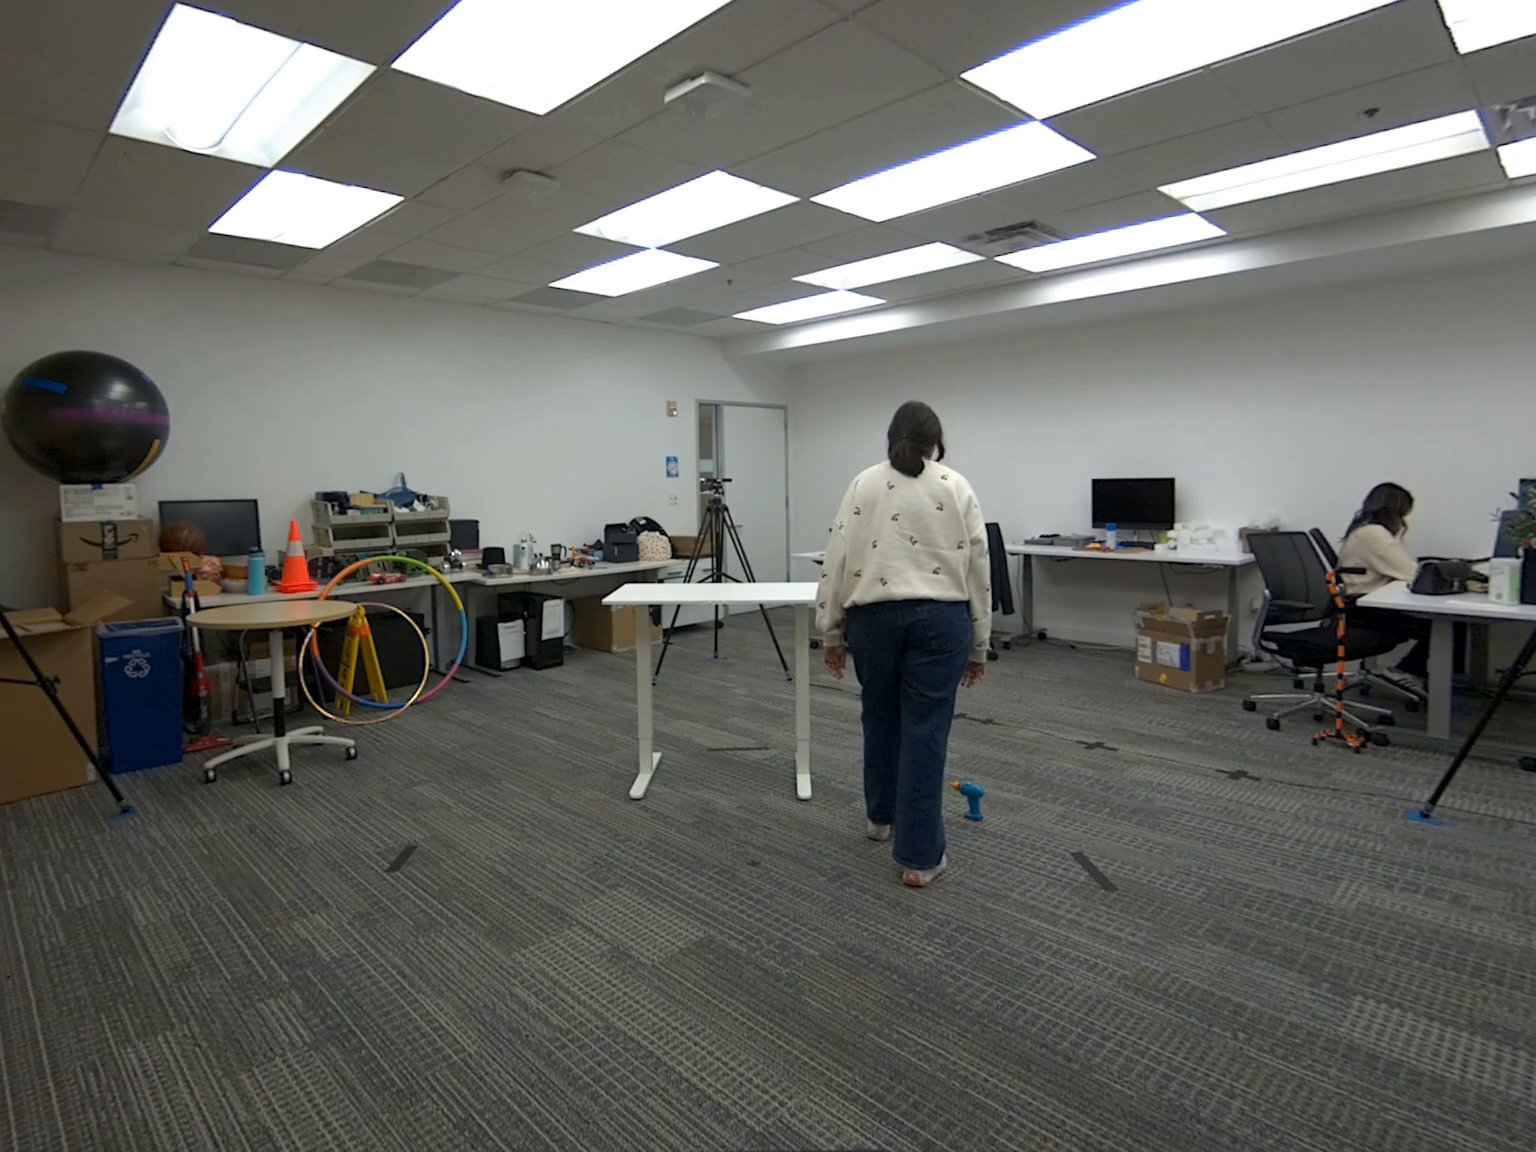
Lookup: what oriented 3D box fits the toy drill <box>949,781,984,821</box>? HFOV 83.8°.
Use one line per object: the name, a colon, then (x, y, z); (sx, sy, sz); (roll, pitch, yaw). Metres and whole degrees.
toy drill: (0.812, 0.913, 3.511); (0.059, 0.146, 0.175); (-2, 4, -43)
